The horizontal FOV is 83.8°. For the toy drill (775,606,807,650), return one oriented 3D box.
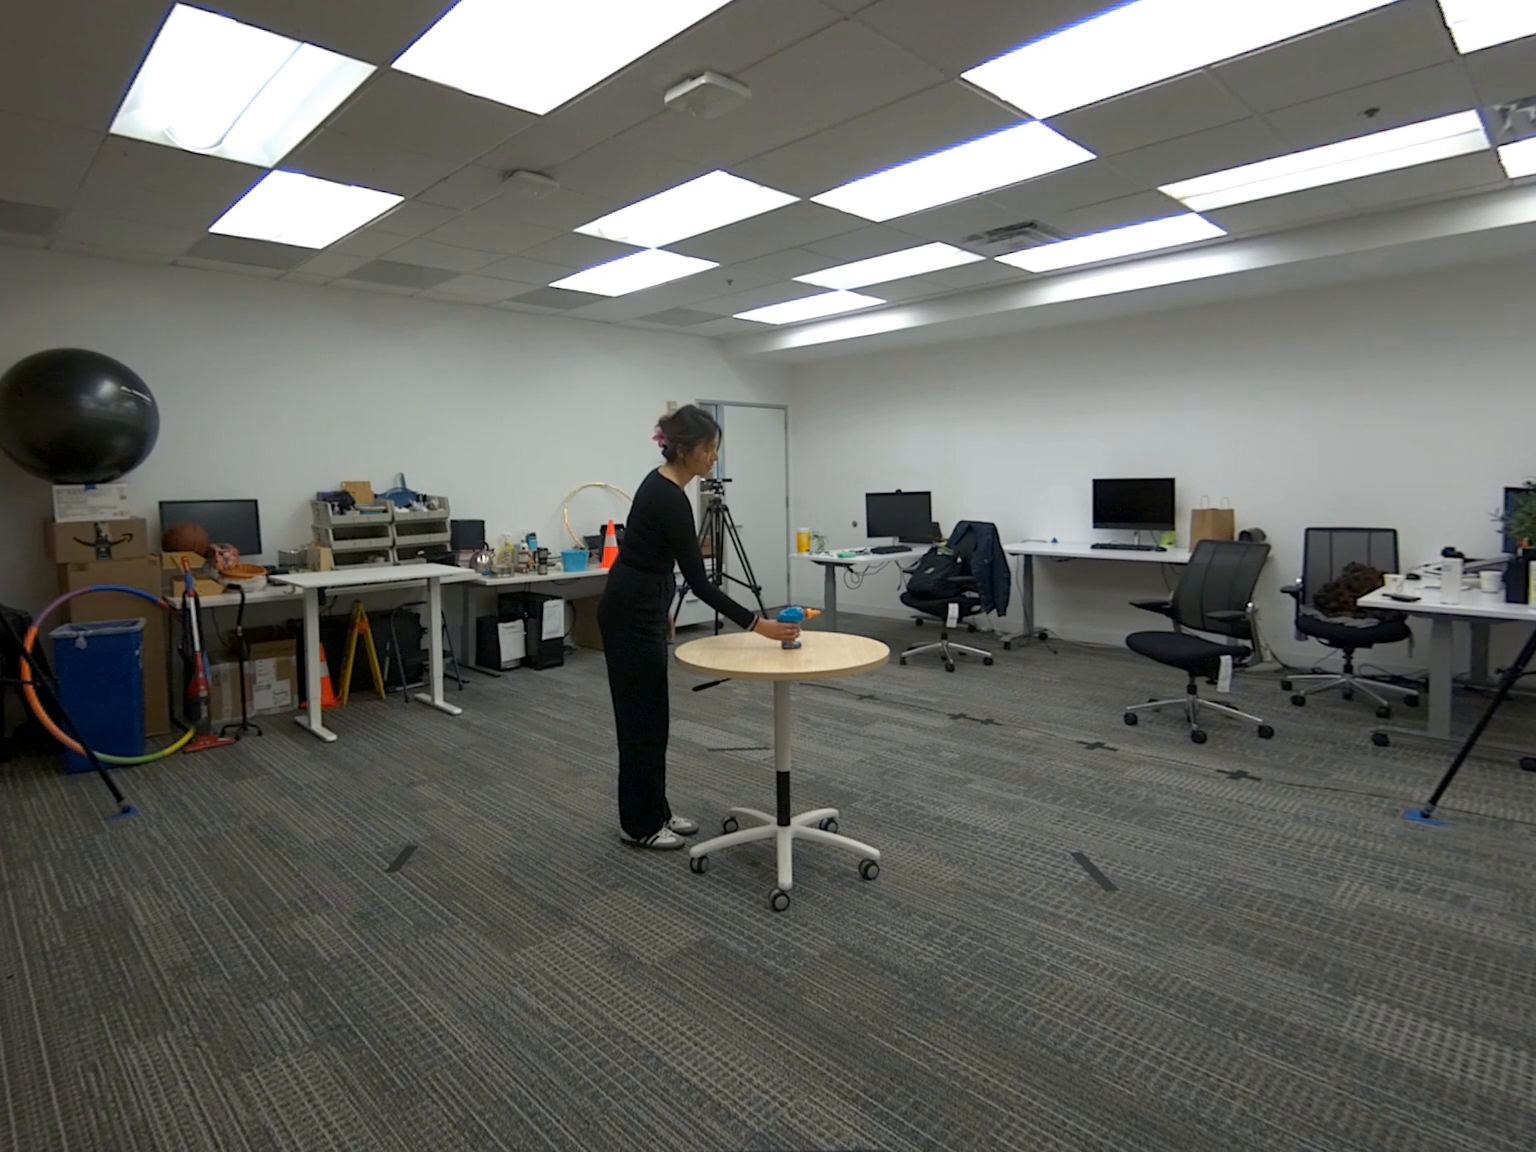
[{"bbox_3d":[0.114,0.177,3.084,0.167,0.146,0.062,-7,2,-17],"label":"toy drill"}]
